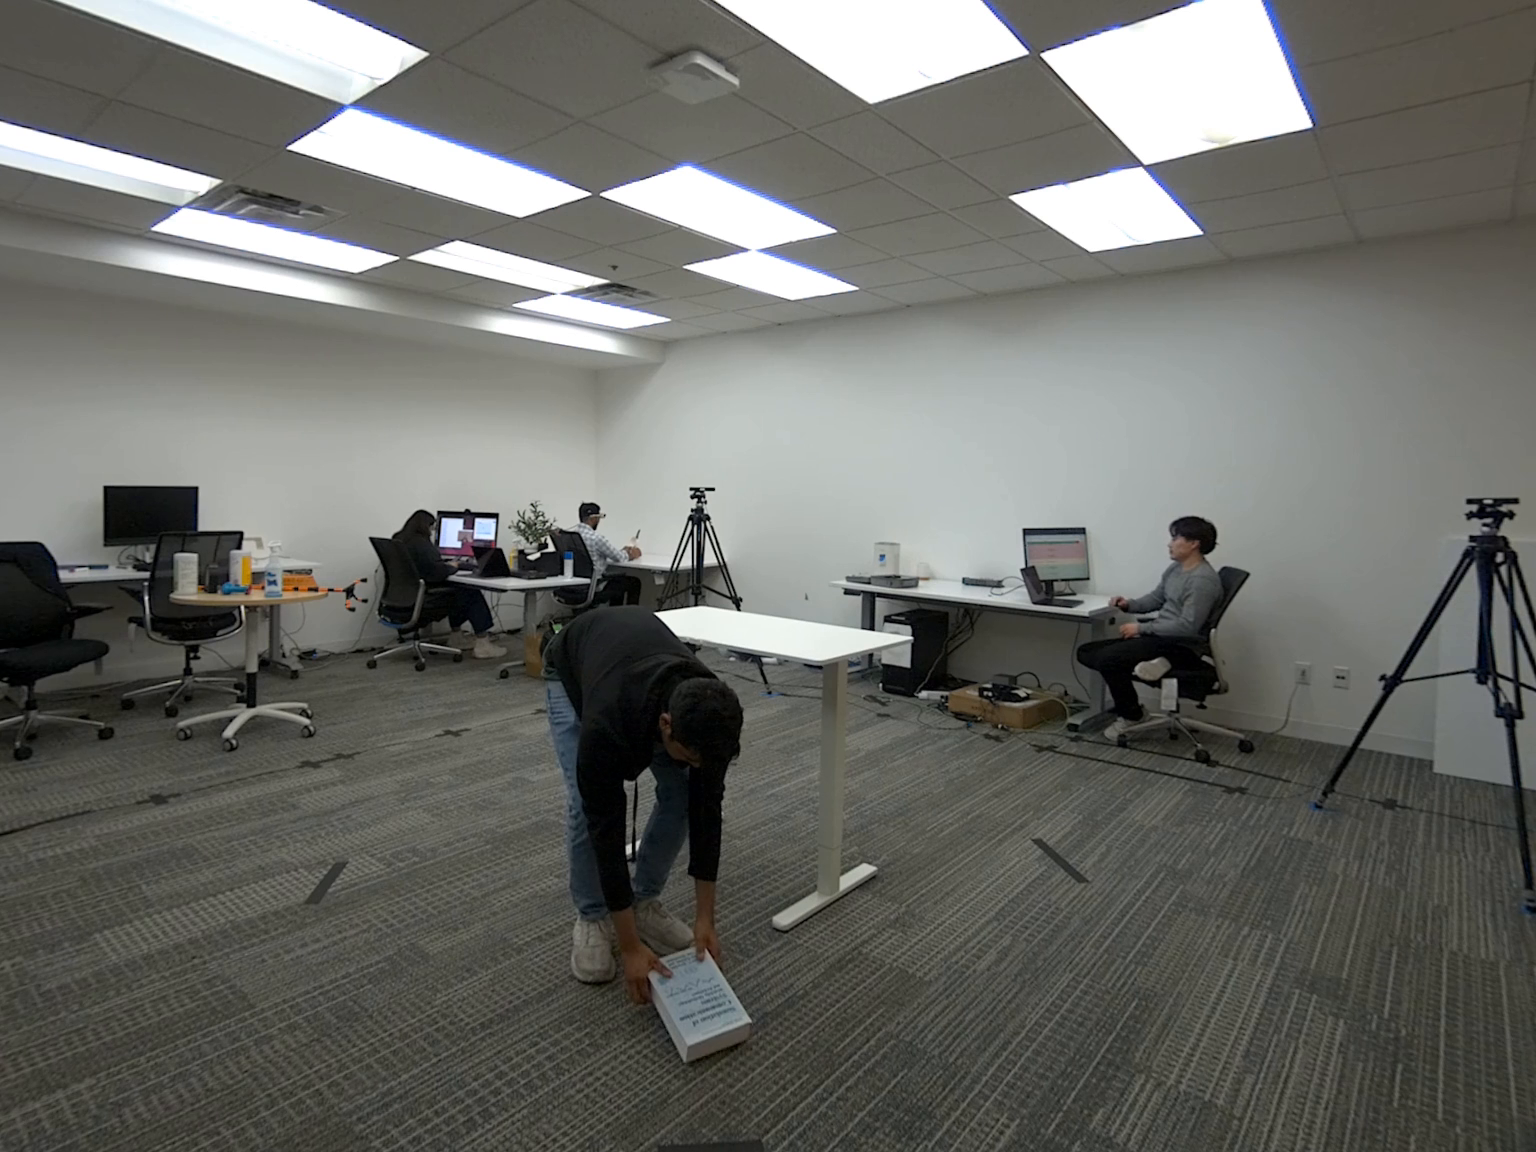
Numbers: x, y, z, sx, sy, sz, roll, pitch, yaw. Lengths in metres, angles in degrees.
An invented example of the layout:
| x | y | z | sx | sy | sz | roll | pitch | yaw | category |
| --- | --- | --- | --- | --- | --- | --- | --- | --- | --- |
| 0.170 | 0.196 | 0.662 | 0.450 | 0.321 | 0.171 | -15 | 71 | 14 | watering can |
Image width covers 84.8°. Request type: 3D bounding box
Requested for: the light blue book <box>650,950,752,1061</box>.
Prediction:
| x | y | z | sx | sy | sz | roll | pitch | yaw | category |
| --- | --- | --- | --- | --- | --- | --- | --- | --- | --- |
| -0.186 | 1.076 | 2.180 | 0.186 | 0.058 | 0.271 | -3 | 21 | -30 | light blue book |
